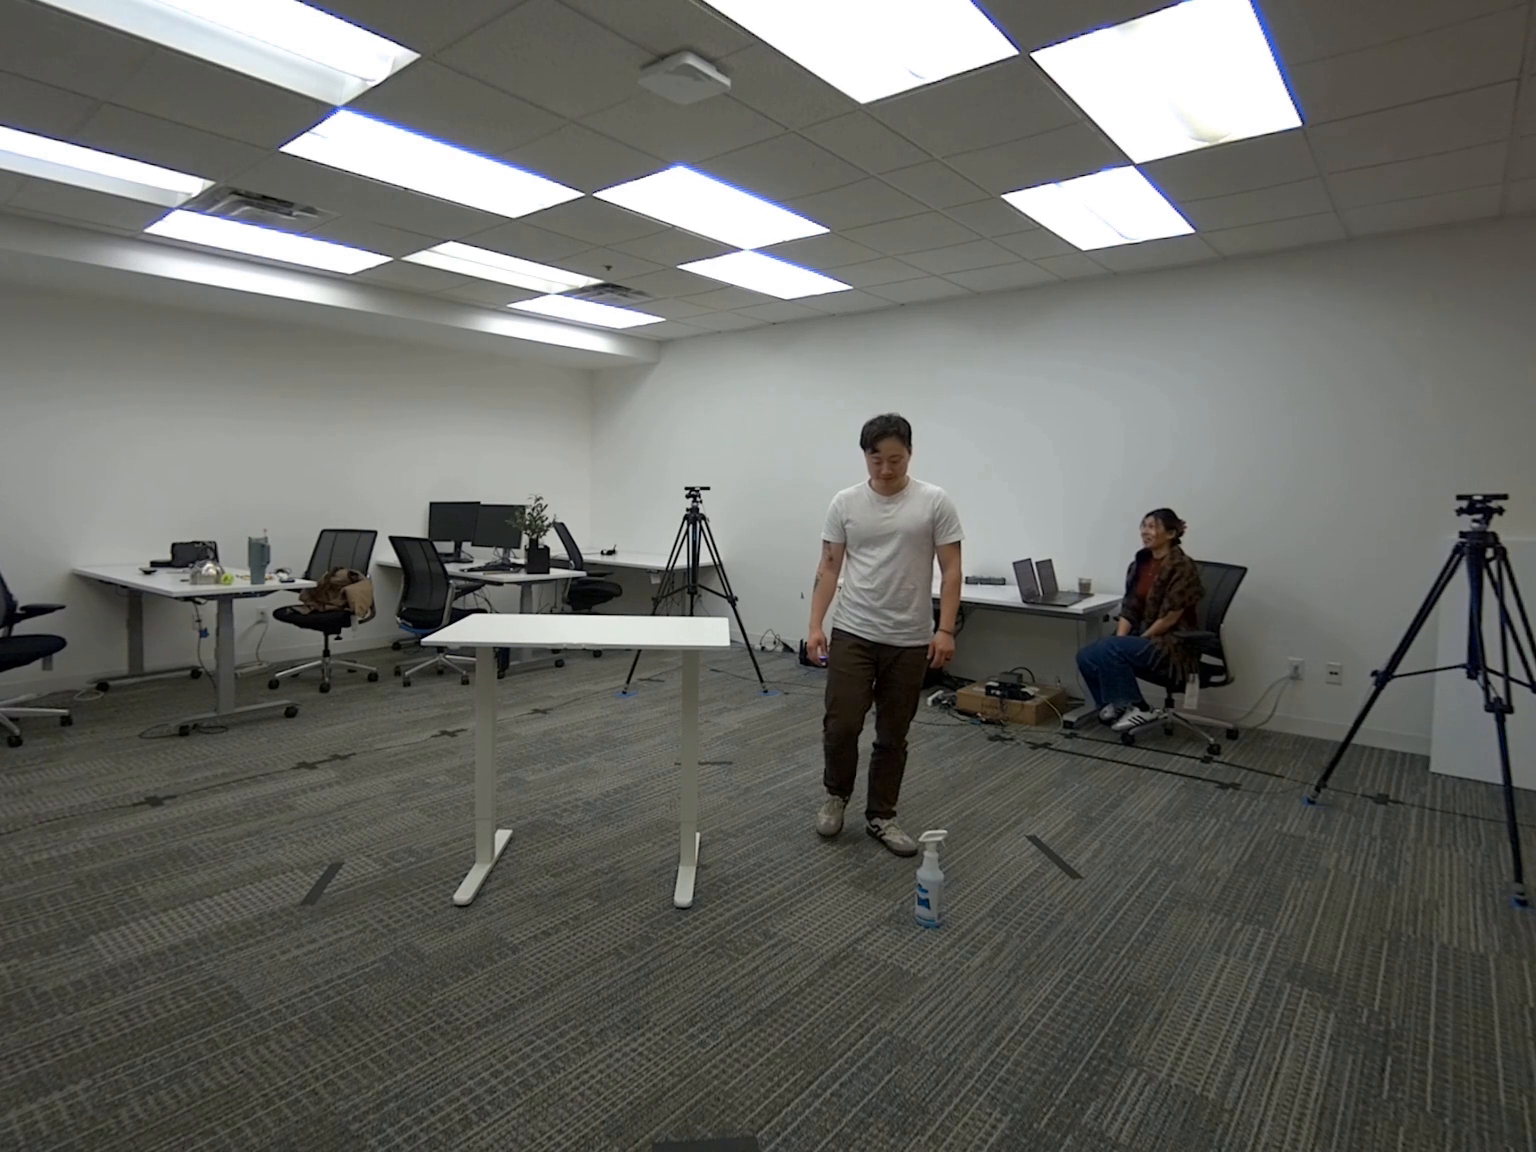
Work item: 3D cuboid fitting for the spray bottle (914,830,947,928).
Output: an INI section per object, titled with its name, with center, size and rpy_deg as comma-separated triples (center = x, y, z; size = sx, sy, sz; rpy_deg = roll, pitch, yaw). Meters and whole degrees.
[spray bottle]
center = 0.524, 0.977, 2.741
size = 0.092, 0.297, 0.086
rpy_deg = 2, 2, 16
